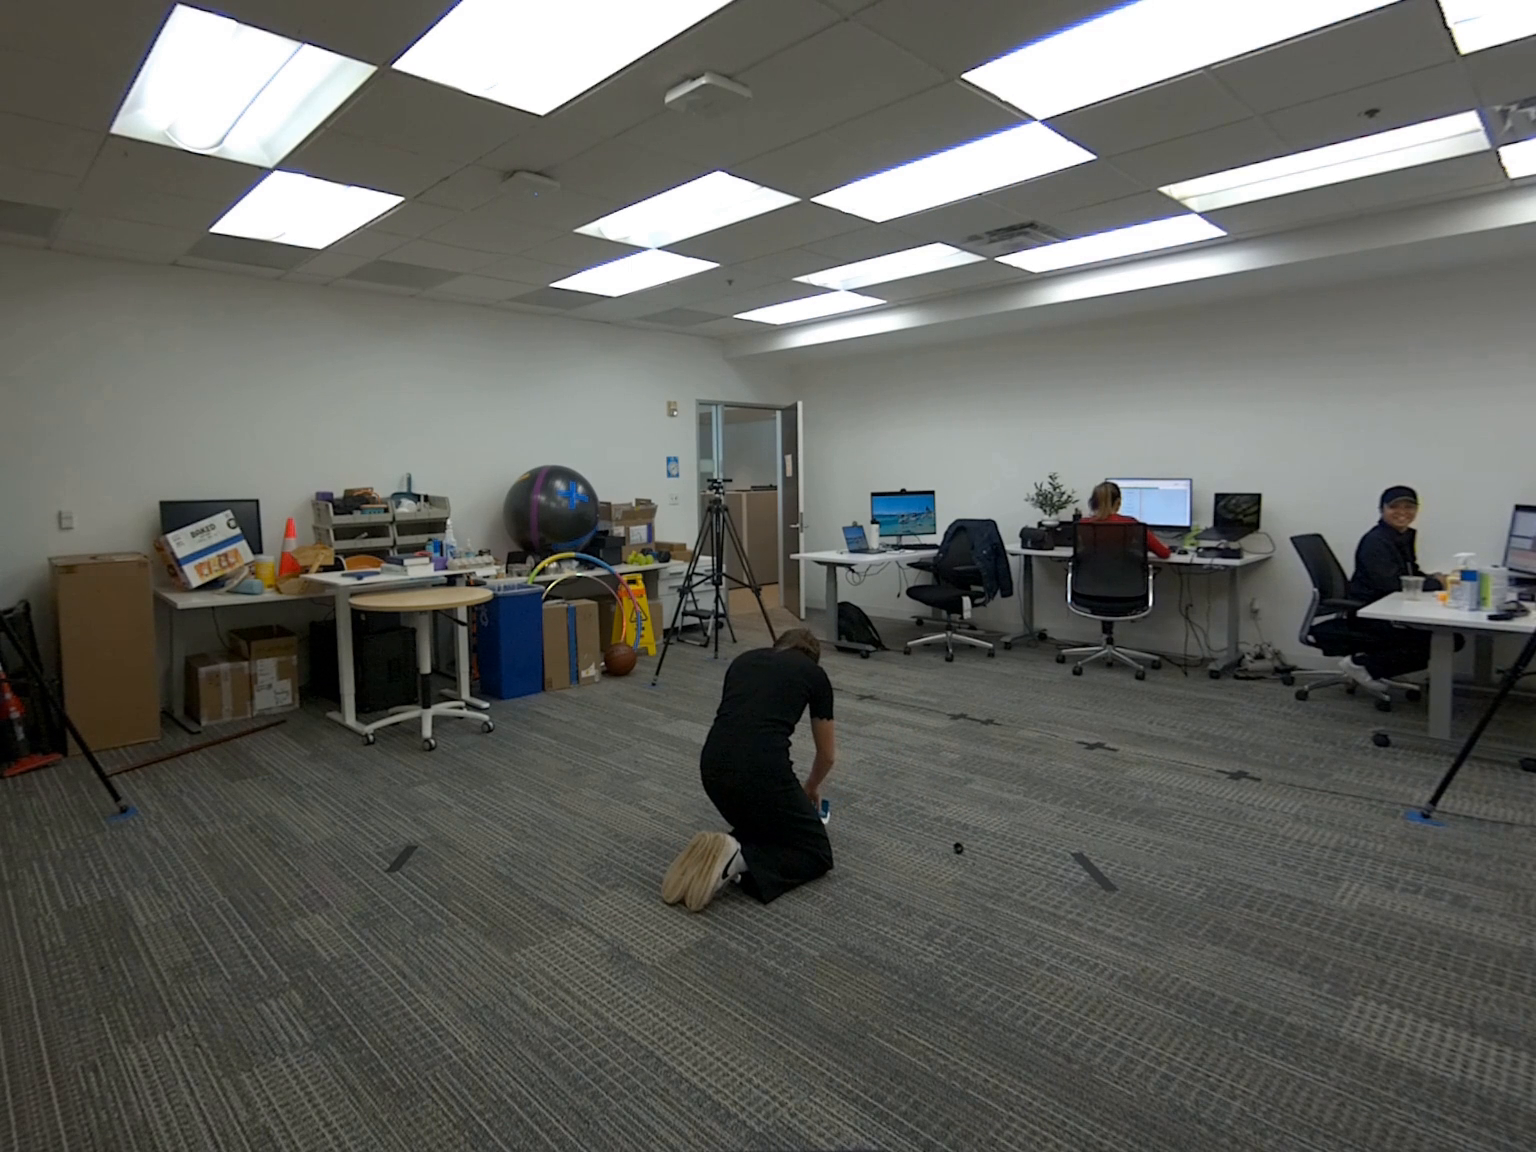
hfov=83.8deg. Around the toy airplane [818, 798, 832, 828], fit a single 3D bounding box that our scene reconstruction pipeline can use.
[{"bbox_3d":[0.119,0.935,3.399,0.255,0.156,0.256,-5,6,-17],"label":"toy airplane"}]
